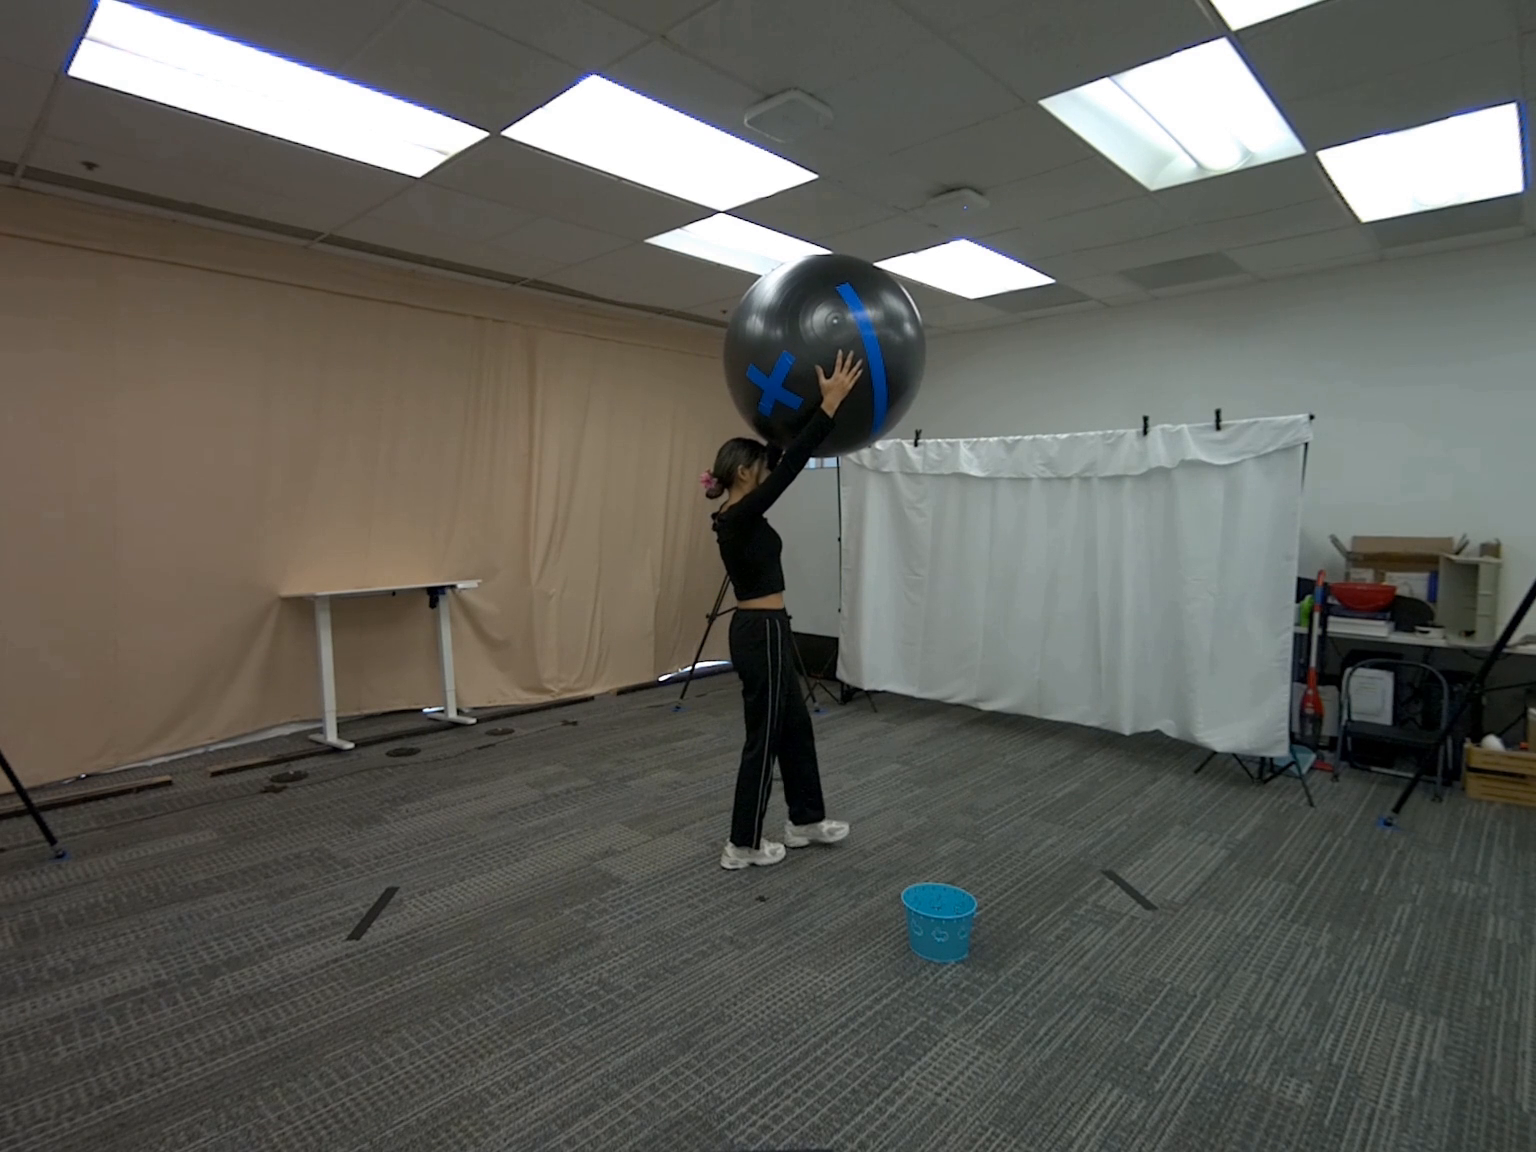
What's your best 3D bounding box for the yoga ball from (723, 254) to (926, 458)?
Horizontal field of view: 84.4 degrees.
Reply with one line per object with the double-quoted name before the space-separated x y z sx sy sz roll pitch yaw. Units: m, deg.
"yoga ball" 0.213 -0.821 3.200 0.757 0.756 0.760 0 4 -2
